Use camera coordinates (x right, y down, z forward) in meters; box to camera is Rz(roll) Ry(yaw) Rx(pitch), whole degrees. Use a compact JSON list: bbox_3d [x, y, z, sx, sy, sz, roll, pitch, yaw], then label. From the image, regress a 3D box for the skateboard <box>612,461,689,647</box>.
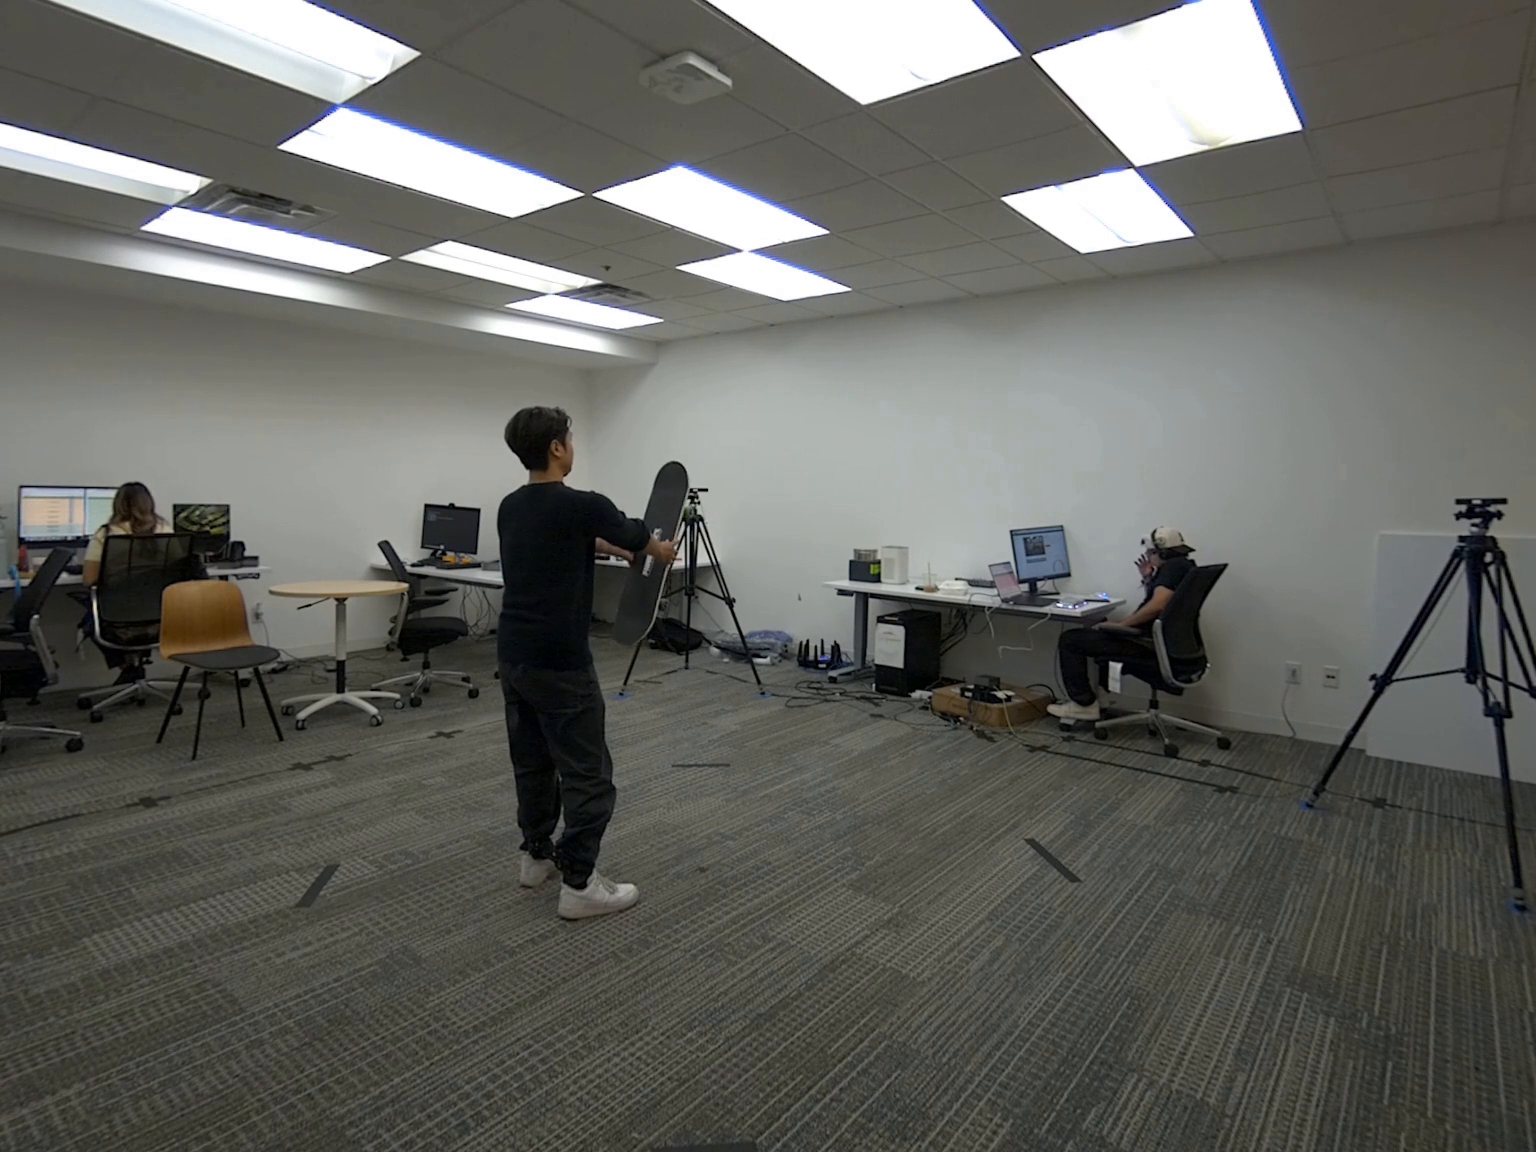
[{"bbox_3d":[-0.464,-0.083,3.457,0.199,0.794,0.106,3,-19,34],"label":"skateboard"}]
